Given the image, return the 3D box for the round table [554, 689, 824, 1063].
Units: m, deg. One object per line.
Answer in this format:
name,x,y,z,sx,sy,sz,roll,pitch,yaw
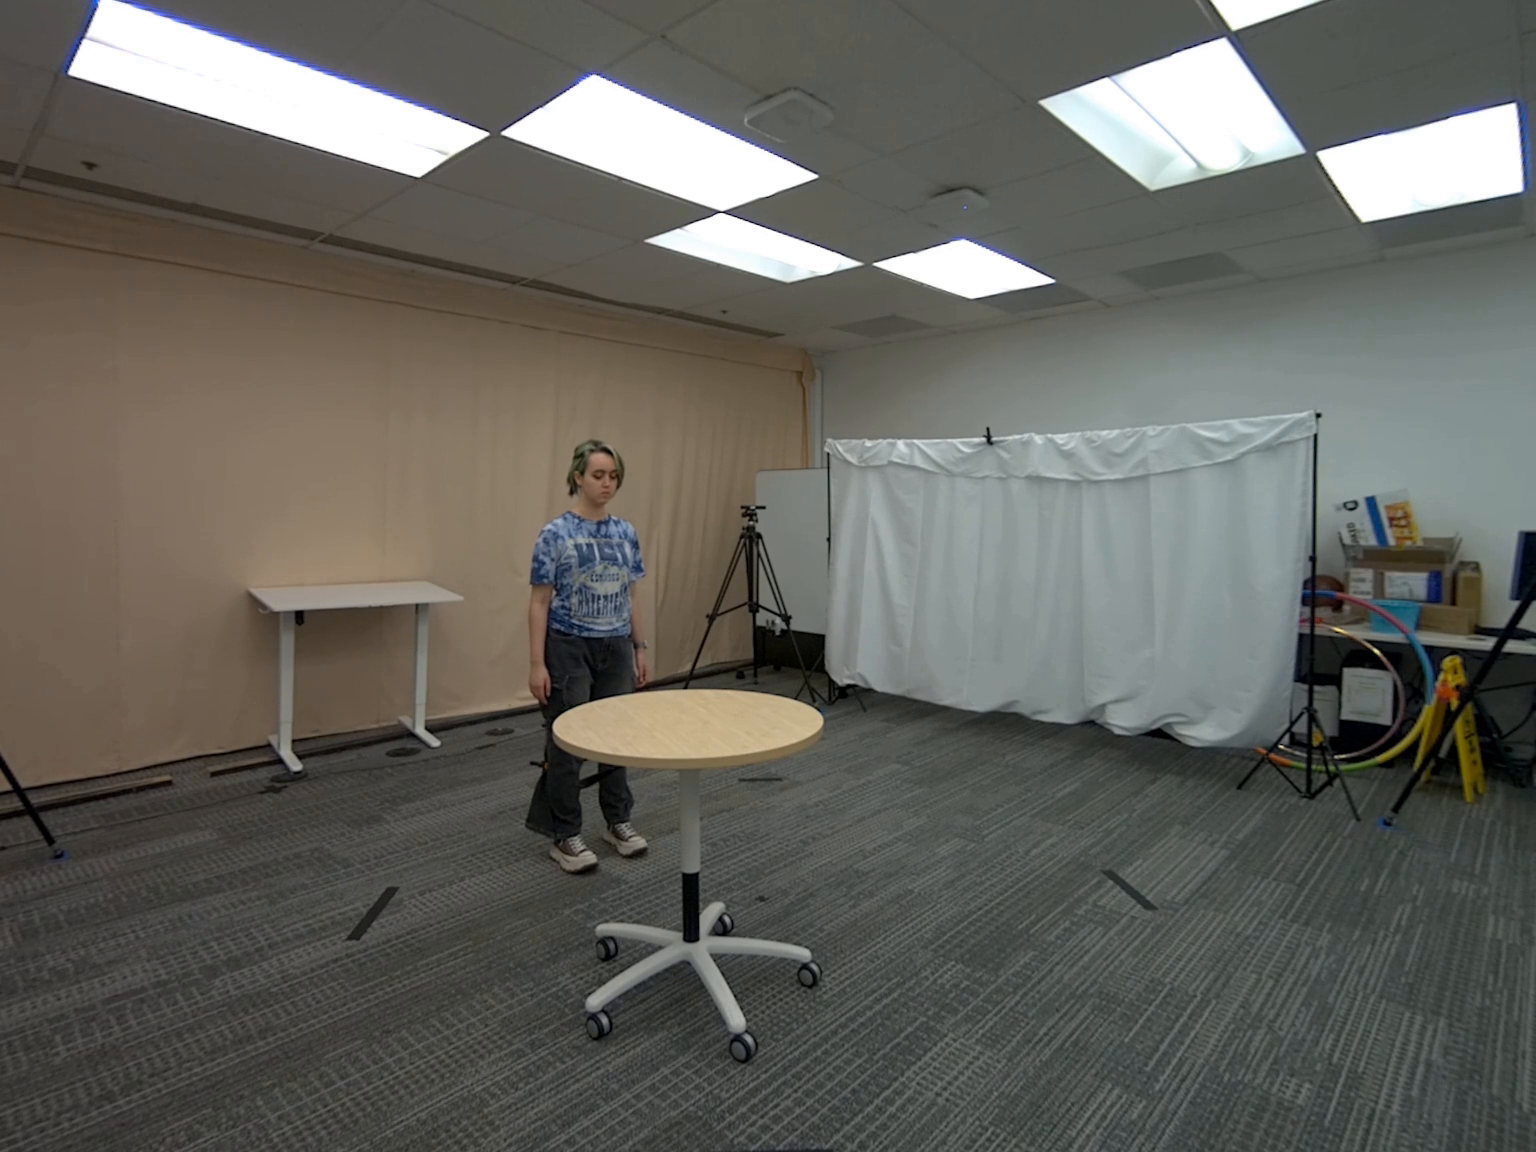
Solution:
round table,-0.222,0.806,2.415,0.763,0.792,0.766,-1,4,-2
